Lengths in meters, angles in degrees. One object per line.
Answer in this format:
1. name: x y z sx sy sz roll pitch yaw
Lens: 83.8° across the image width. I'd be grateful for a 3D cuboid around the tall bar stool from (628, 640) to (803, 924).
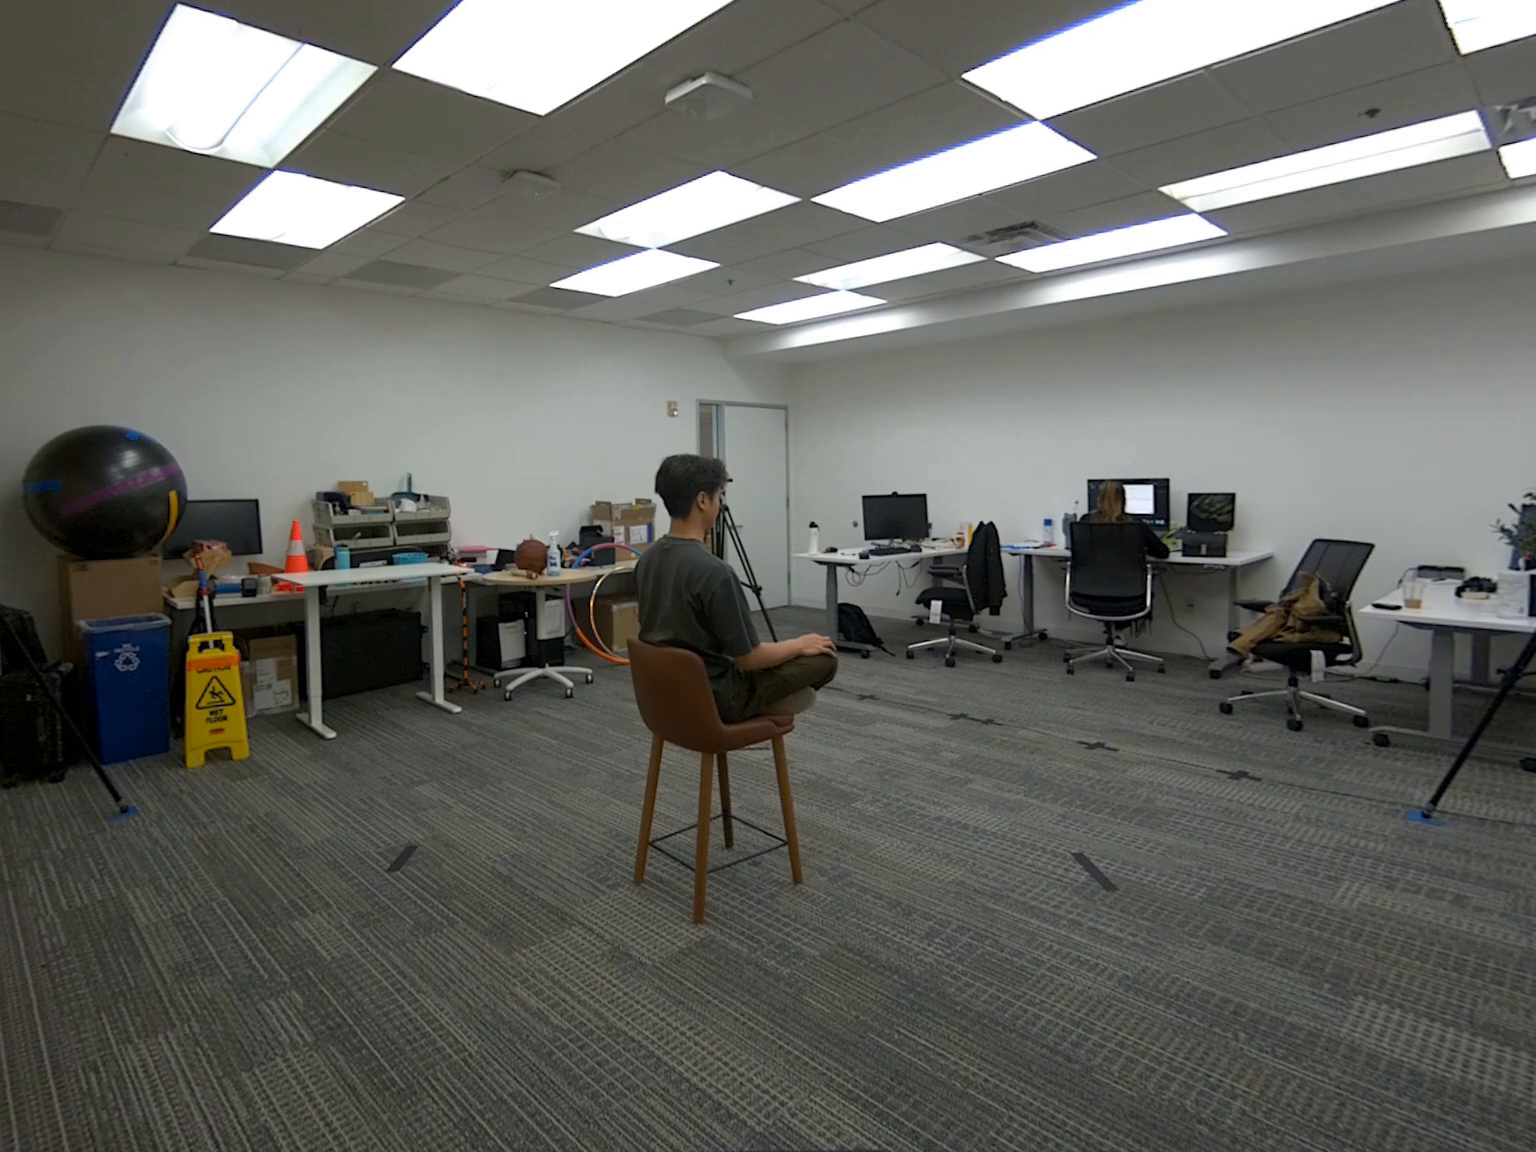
1. tall bar stool: -0.194 0.631 2.935 0.456 0.885 0.470 -8 8 -40
